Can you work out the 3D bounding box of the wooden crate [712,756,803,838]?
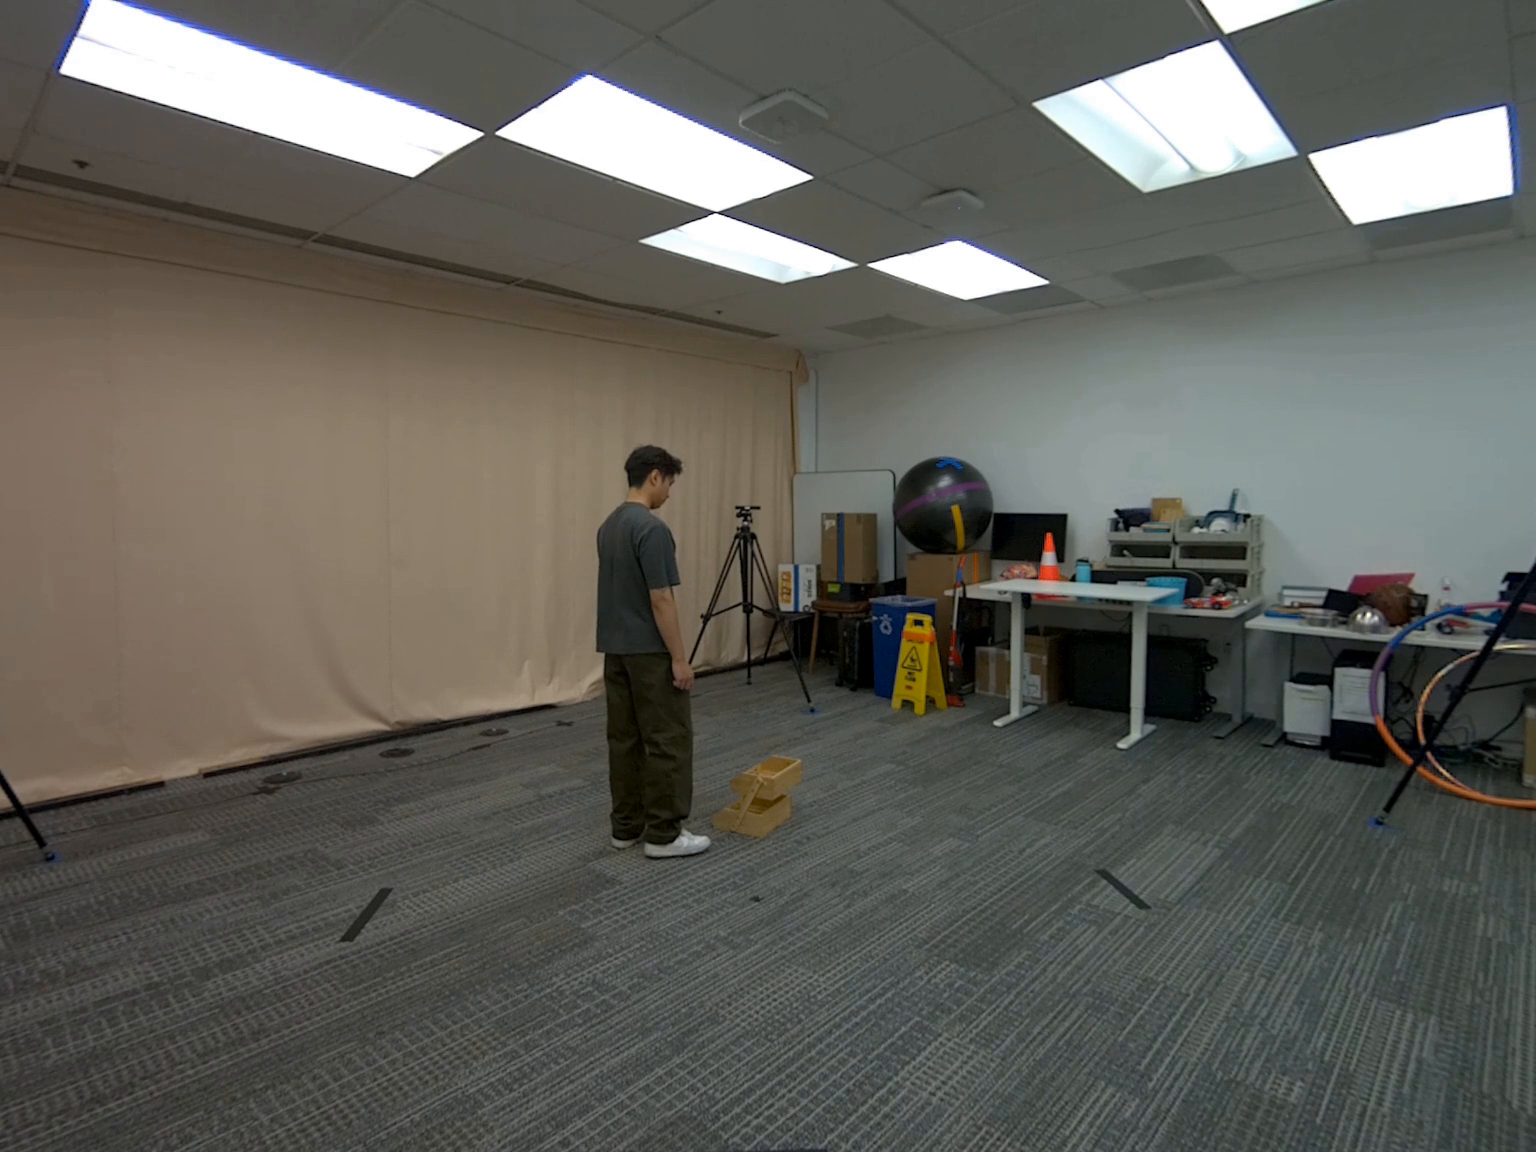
[{"bbox_3d":[-0.052,0.953,3.704,0.310,0.273,0.316,2,5,28],"label":"wooden crate"}]
